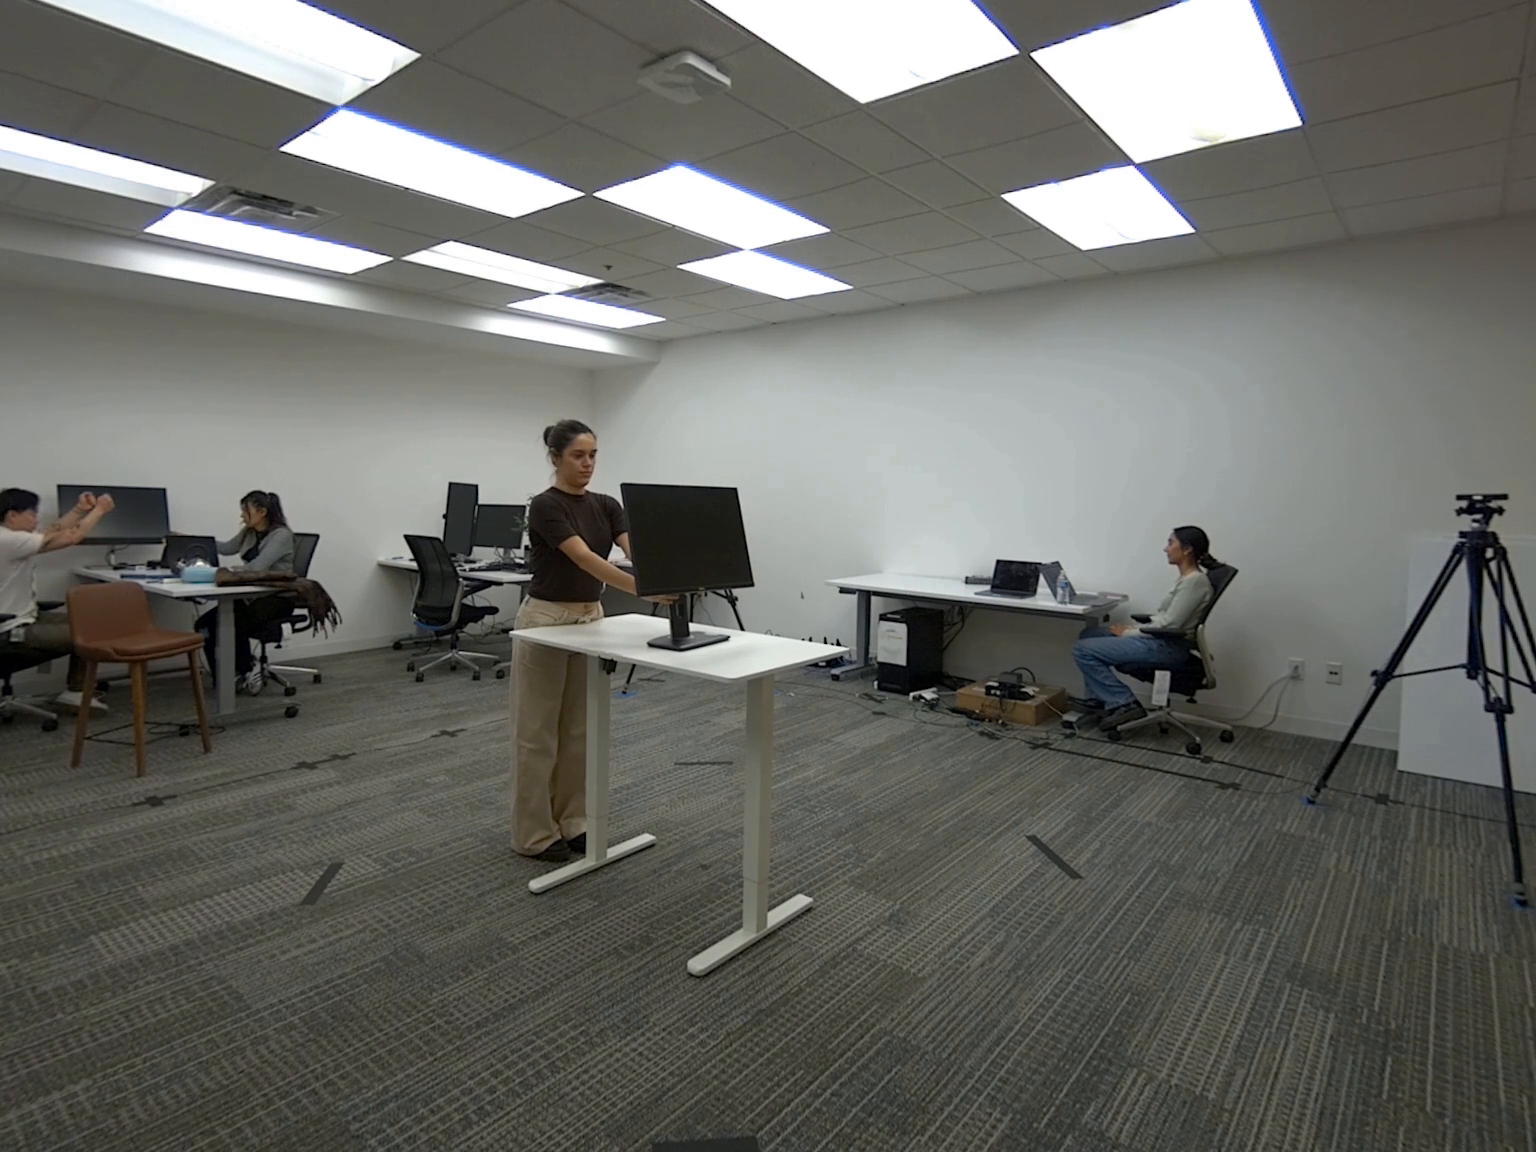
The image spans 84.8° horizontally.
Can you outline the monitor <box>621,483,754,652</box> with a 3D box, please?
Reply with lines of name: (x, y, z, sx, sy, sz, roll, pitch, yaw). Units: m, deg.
monitor: (-0.280, -0.035, 2.773, 0.193, 0.522, 0.523, 0, 2, 38)
